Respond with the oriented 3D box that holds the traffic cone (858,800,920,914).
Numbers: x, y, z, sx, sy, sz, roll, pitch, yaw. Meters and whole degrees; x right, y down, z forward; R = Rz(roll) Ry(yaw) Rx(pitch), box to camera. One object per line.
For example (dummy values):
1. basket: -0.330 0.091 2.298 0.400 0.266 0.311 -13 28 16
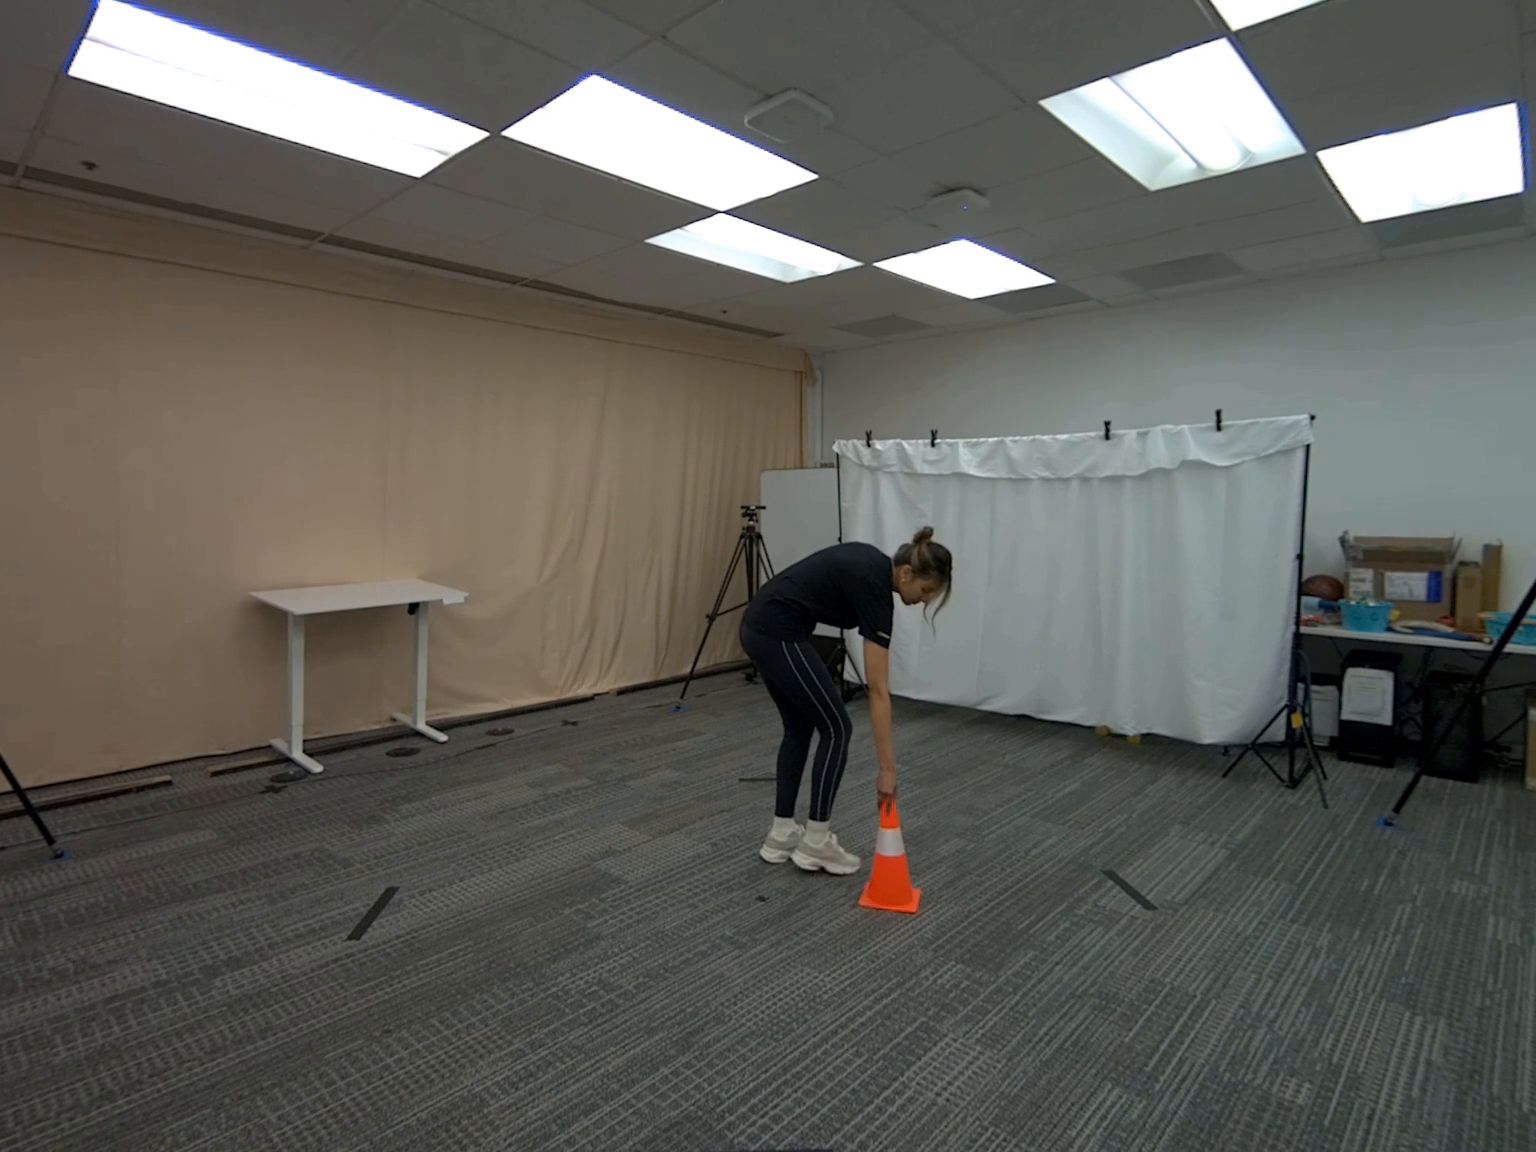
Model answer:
1. traffic cone: 0.439 0.954 2.978 0.208 0.383 0.200 1 1 21
